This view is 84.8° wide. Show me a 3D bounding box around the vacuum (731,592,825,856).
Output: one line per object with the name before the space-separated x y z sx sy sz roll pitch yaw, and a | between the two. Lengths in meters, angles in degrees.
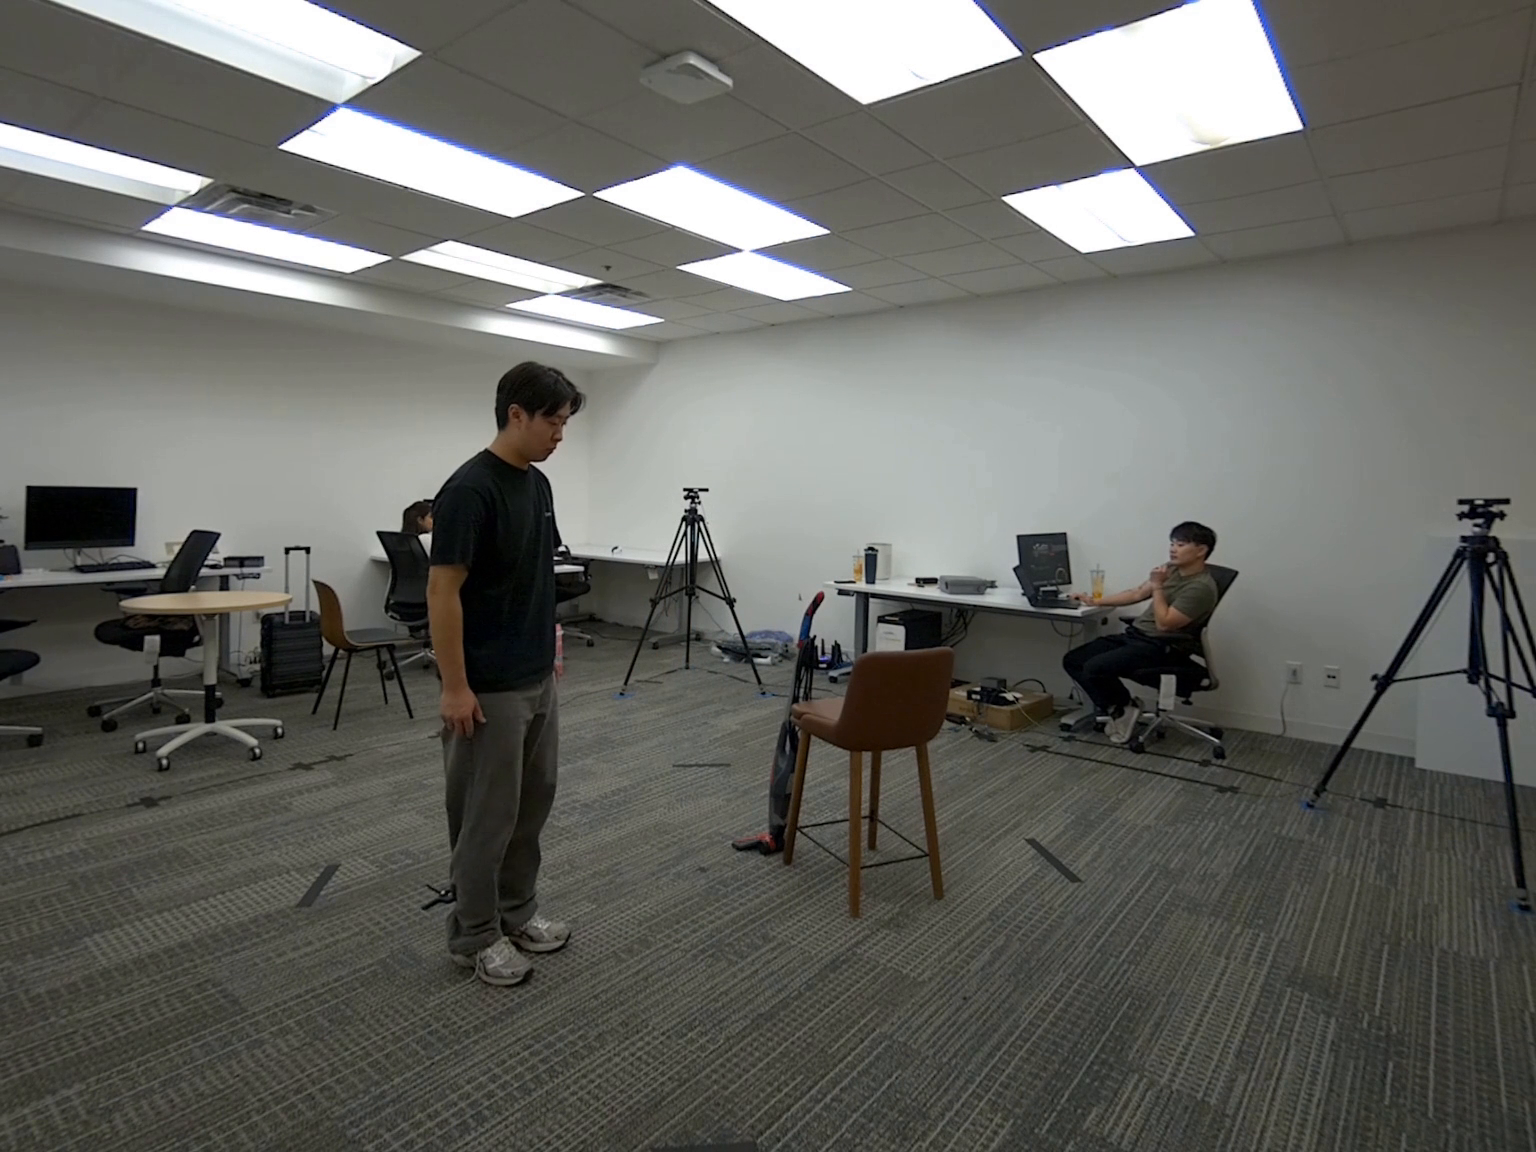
vacuum | 0.089 0.558 3.188 0.245 1.039 0.150 0 17 -41
